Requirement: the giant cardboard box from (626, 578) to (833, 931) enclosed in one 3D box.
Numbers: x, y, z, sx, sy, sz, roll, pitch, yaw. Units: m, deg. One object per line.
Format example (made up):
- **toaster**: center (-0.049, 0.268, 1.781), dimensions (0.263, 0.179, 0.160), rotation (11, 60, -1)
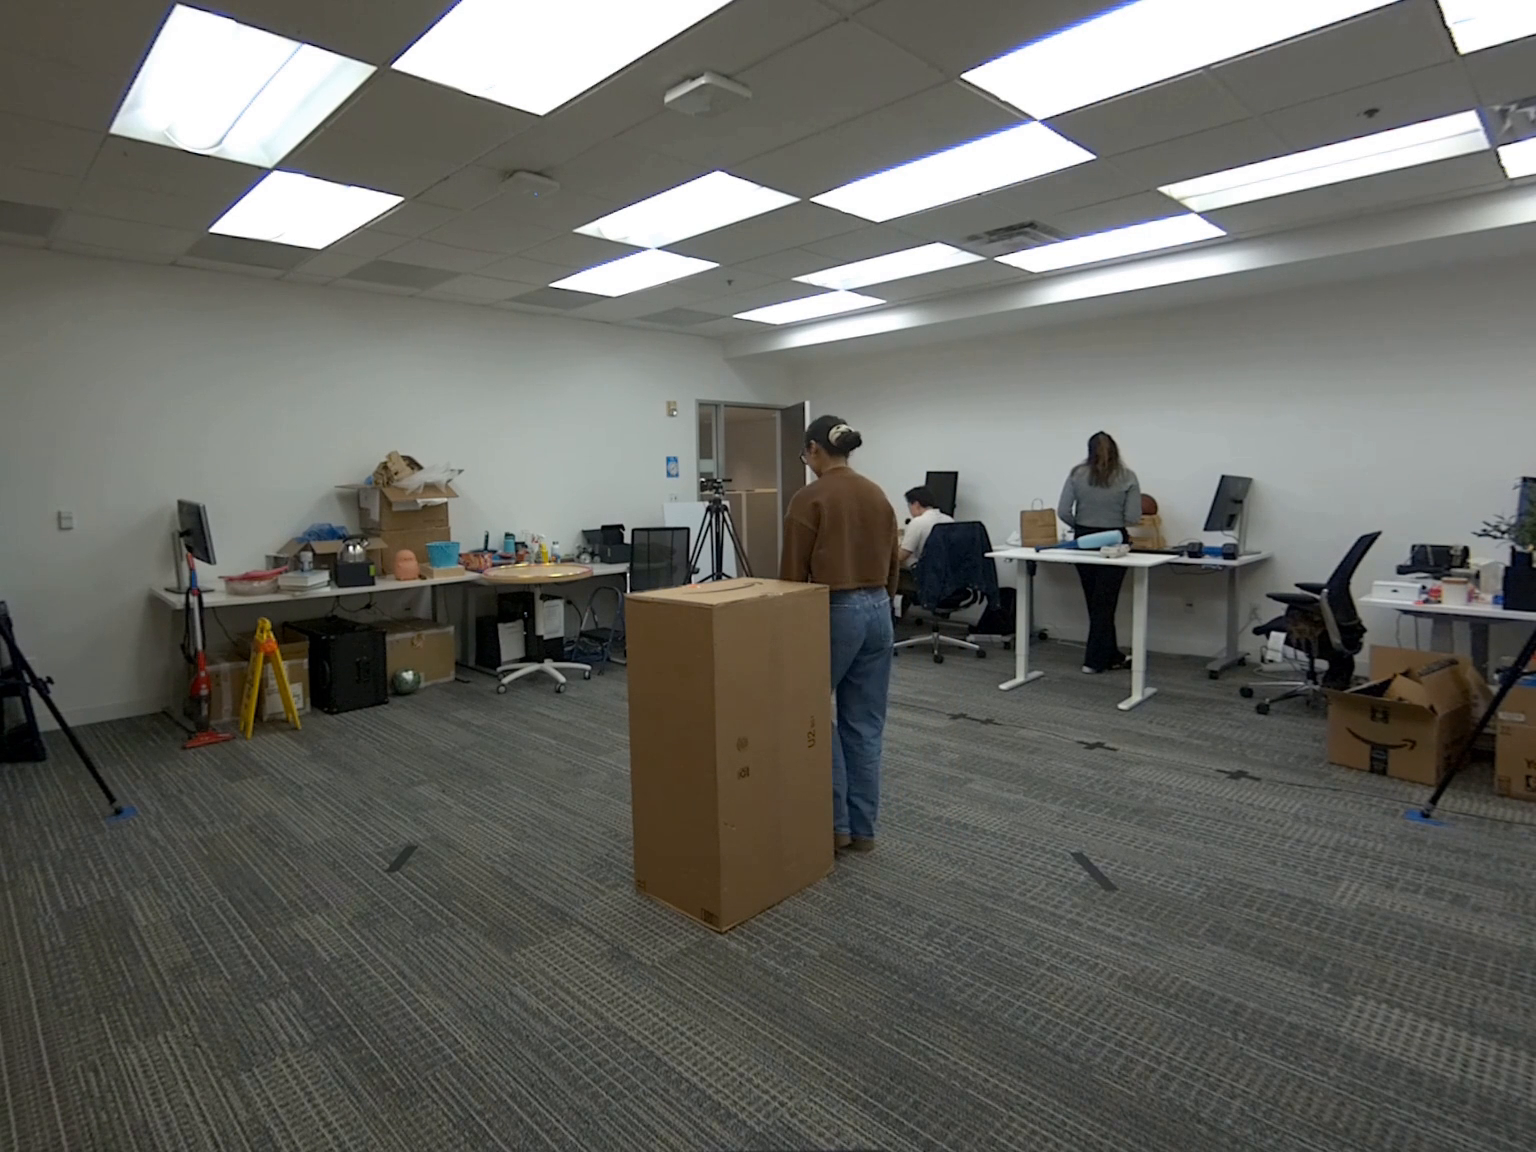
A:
- **giant cardboard box**: center (-0.125, 0.558, 2.939), dimensions (0.460, 1.023, 0.568), rotation (3, 6, 42)
